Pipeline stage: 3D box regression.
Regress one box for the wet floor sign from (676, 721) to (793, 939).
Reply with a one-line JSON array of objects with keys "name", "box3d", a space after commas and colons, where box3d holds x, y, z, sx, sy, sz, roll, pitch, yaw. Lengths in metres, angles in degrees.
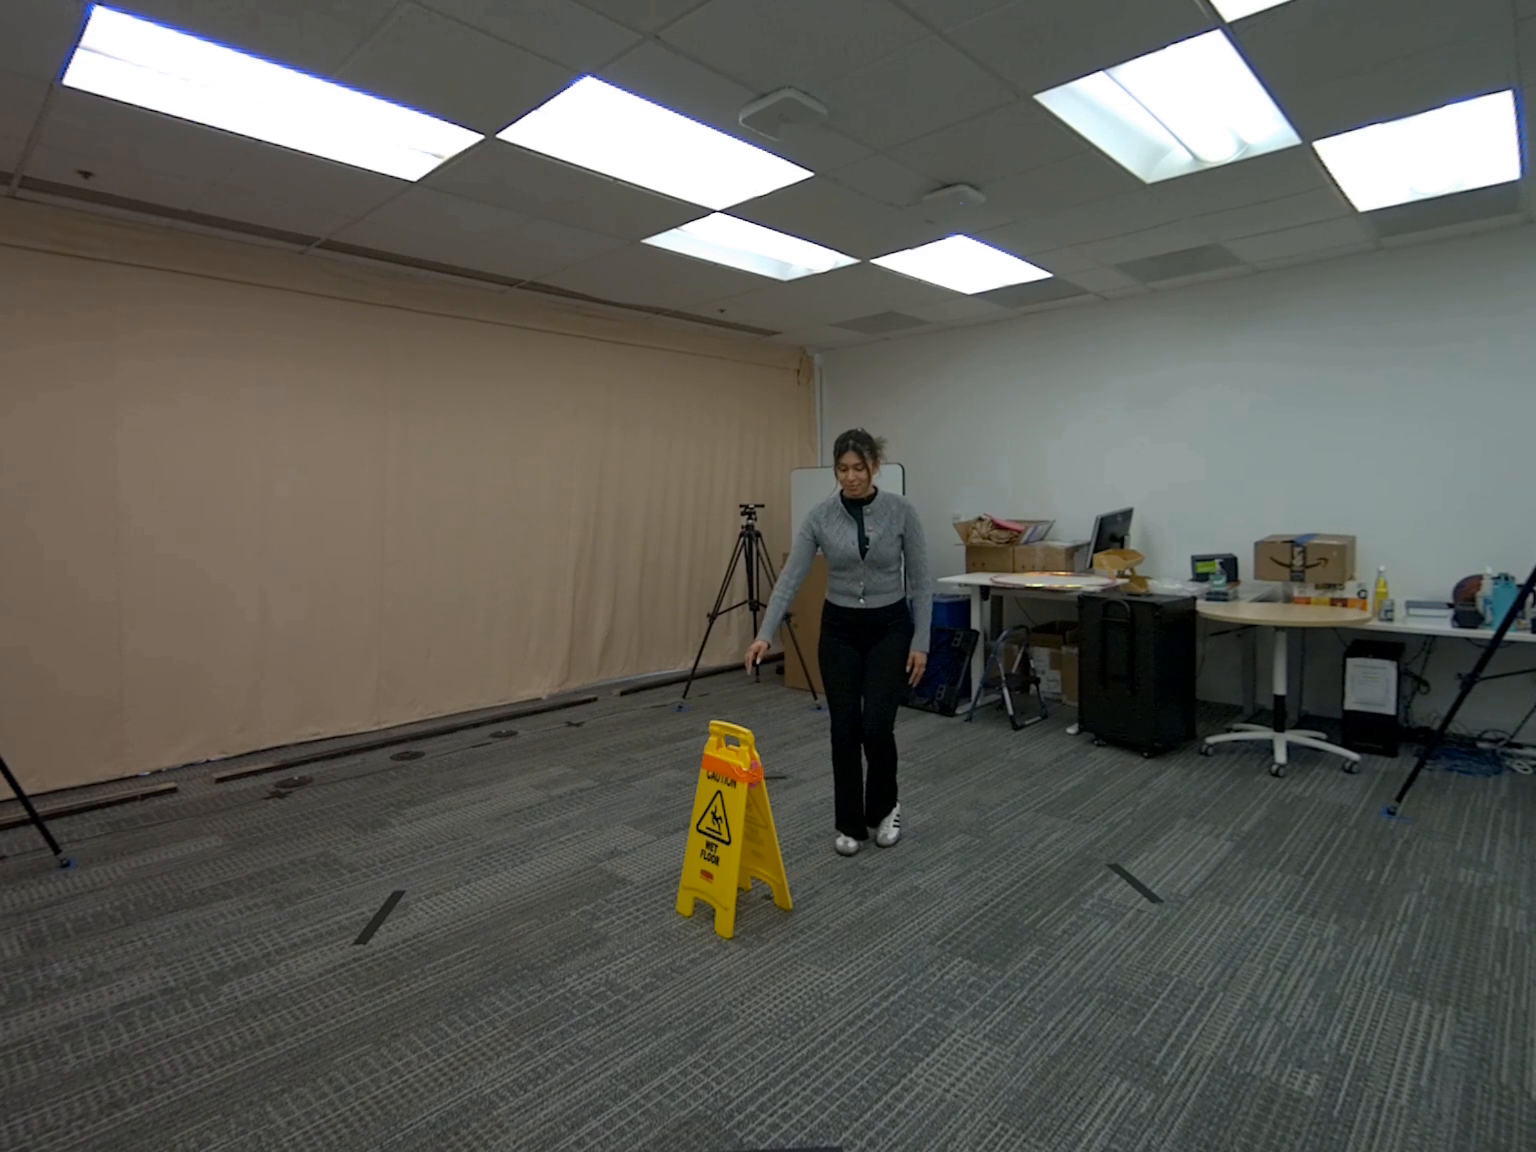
[{"name": "wet floor sign", "box3d": [-0.119, 0.828, 2.874, 0.281, 0.645, 0.291, -4, 4, -43]}]
